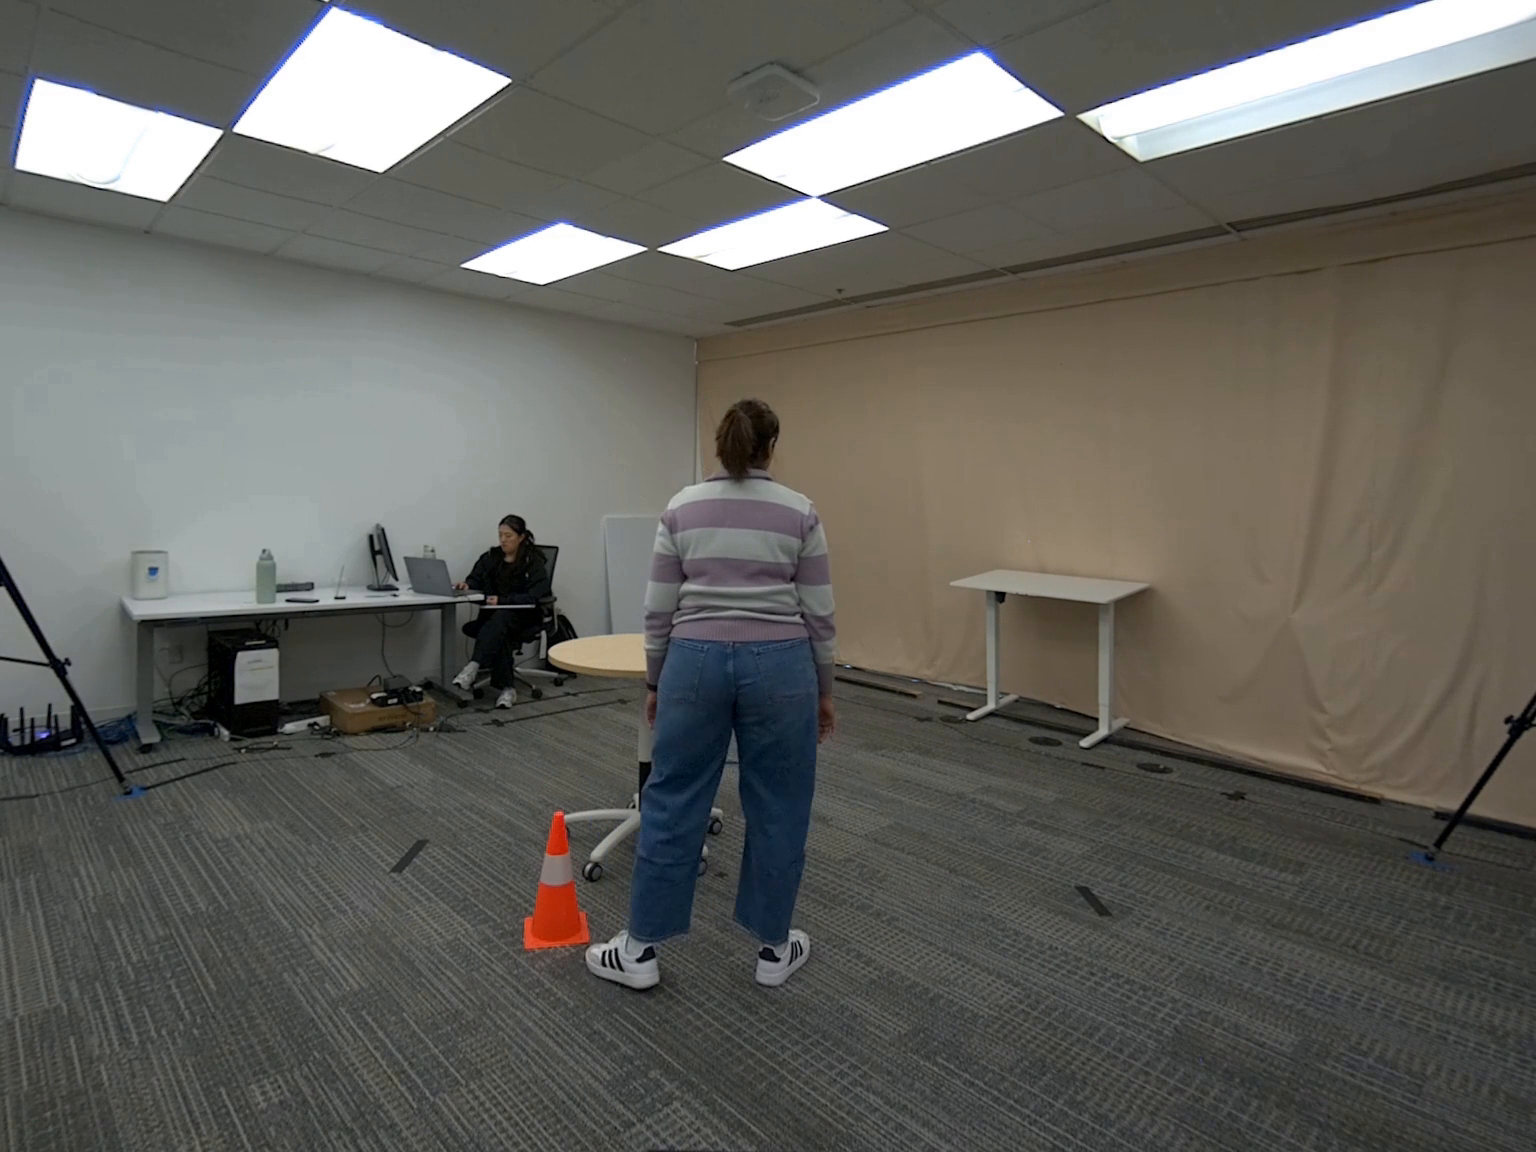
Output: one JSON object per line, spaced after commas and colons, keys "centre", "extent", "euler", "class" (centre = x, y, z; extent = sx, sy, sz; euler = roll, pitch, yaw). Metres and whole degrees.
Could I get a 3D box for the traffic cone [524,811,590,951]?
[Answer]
{"centre": [-0.675, 0.950, 2.672], "extent": [0.203, 0.383, 0.206], "euler": [1, 3, -14], "class": "traffic cone"}
